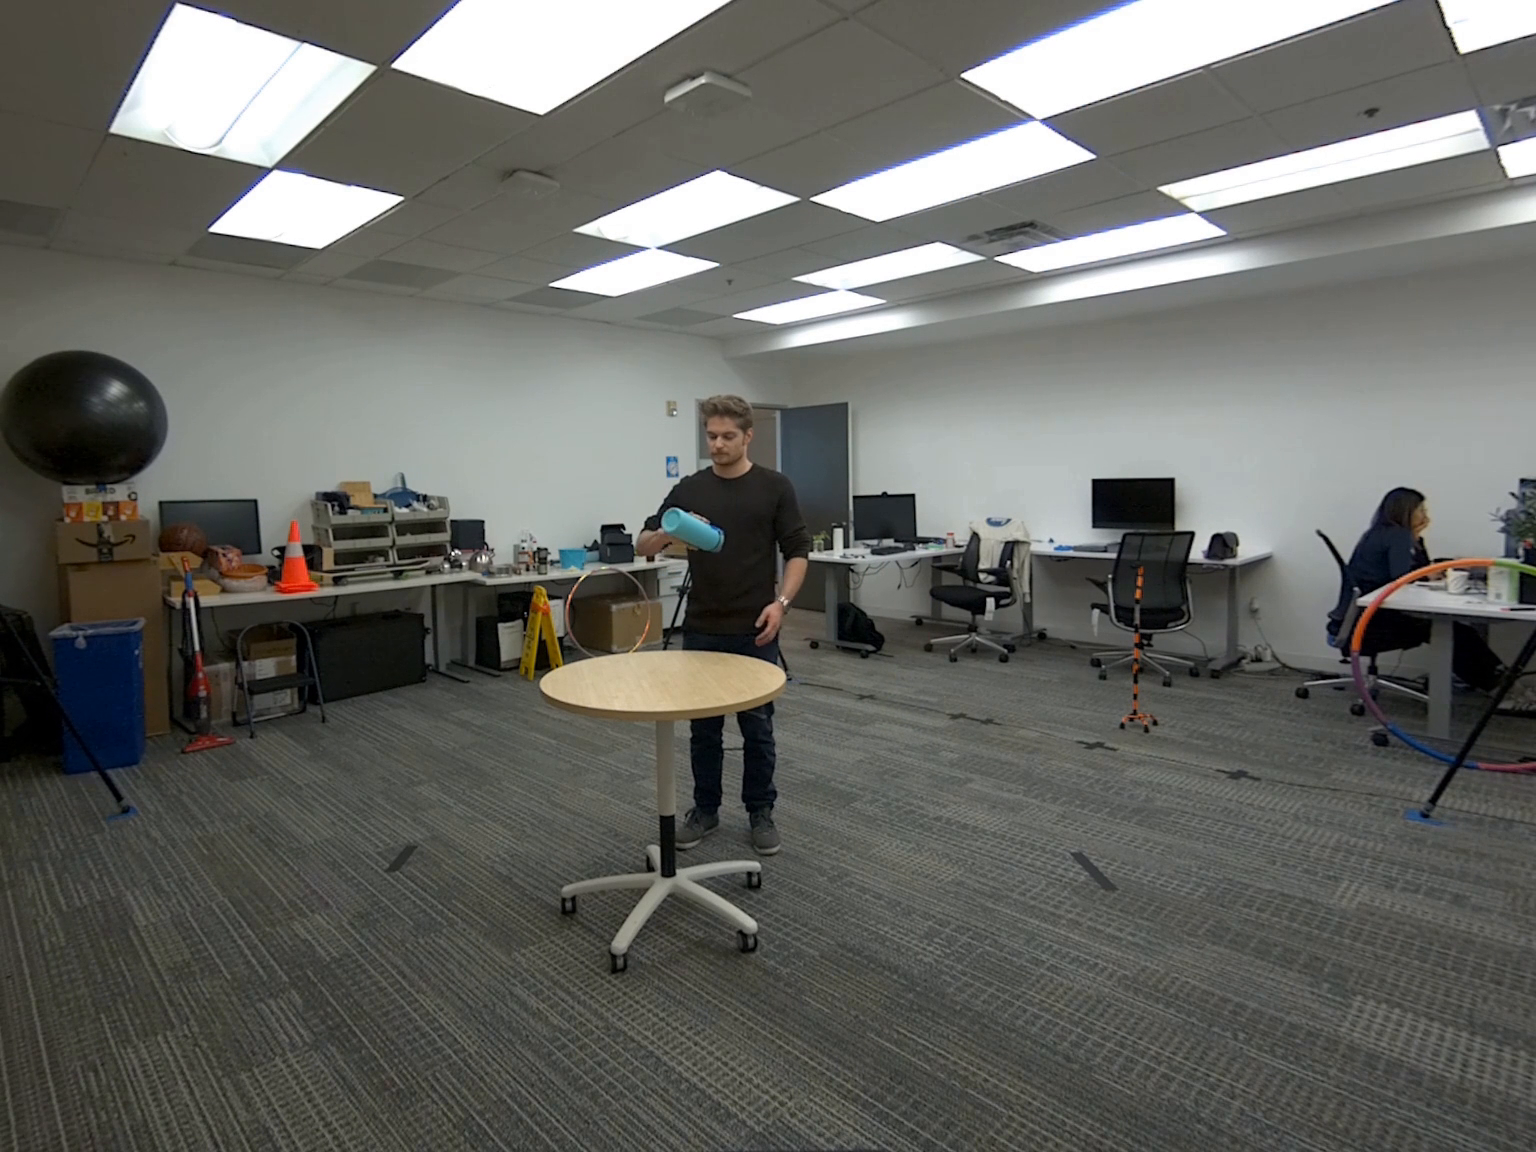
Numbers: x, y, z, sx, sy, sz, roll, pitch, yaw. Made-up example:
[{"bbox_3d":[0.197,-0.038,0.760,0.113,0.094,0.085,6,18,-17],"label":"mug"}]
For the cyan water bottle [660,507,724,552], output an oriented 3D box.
[{"bbox_3d":[-0.253,-0.150,2.980,0.095,0.093,0.273,3,-14,36],"label":"cyan water bottle"}]
